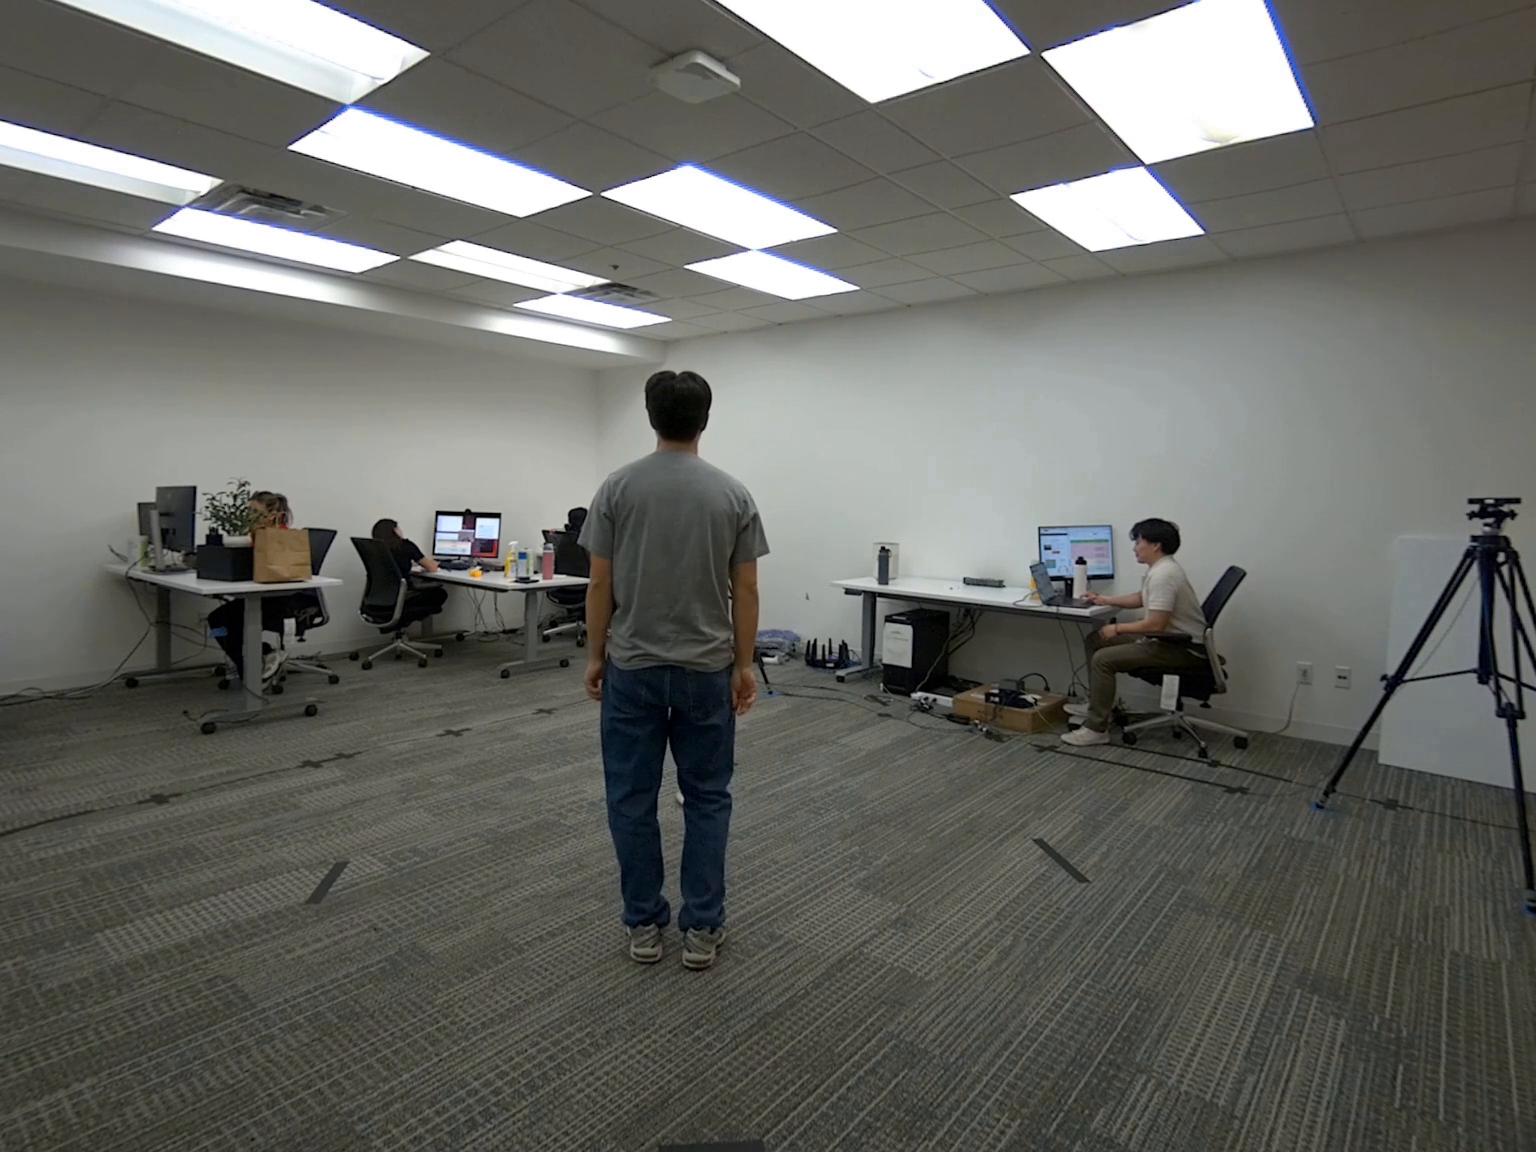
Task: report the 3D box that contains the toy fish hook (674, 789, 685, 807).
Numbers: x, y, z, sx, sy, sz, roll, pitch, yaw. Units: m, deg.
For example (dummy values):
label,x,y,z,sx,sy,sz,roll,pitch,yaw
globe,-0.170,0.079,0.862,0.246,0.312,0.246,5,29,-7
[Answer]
label,x,y,z,sx,sy,sz,roll,pitch,yaw
toy fish hook,-0.258,0.982,3.636,0.221,0.048,0.517,-2,6,-16
